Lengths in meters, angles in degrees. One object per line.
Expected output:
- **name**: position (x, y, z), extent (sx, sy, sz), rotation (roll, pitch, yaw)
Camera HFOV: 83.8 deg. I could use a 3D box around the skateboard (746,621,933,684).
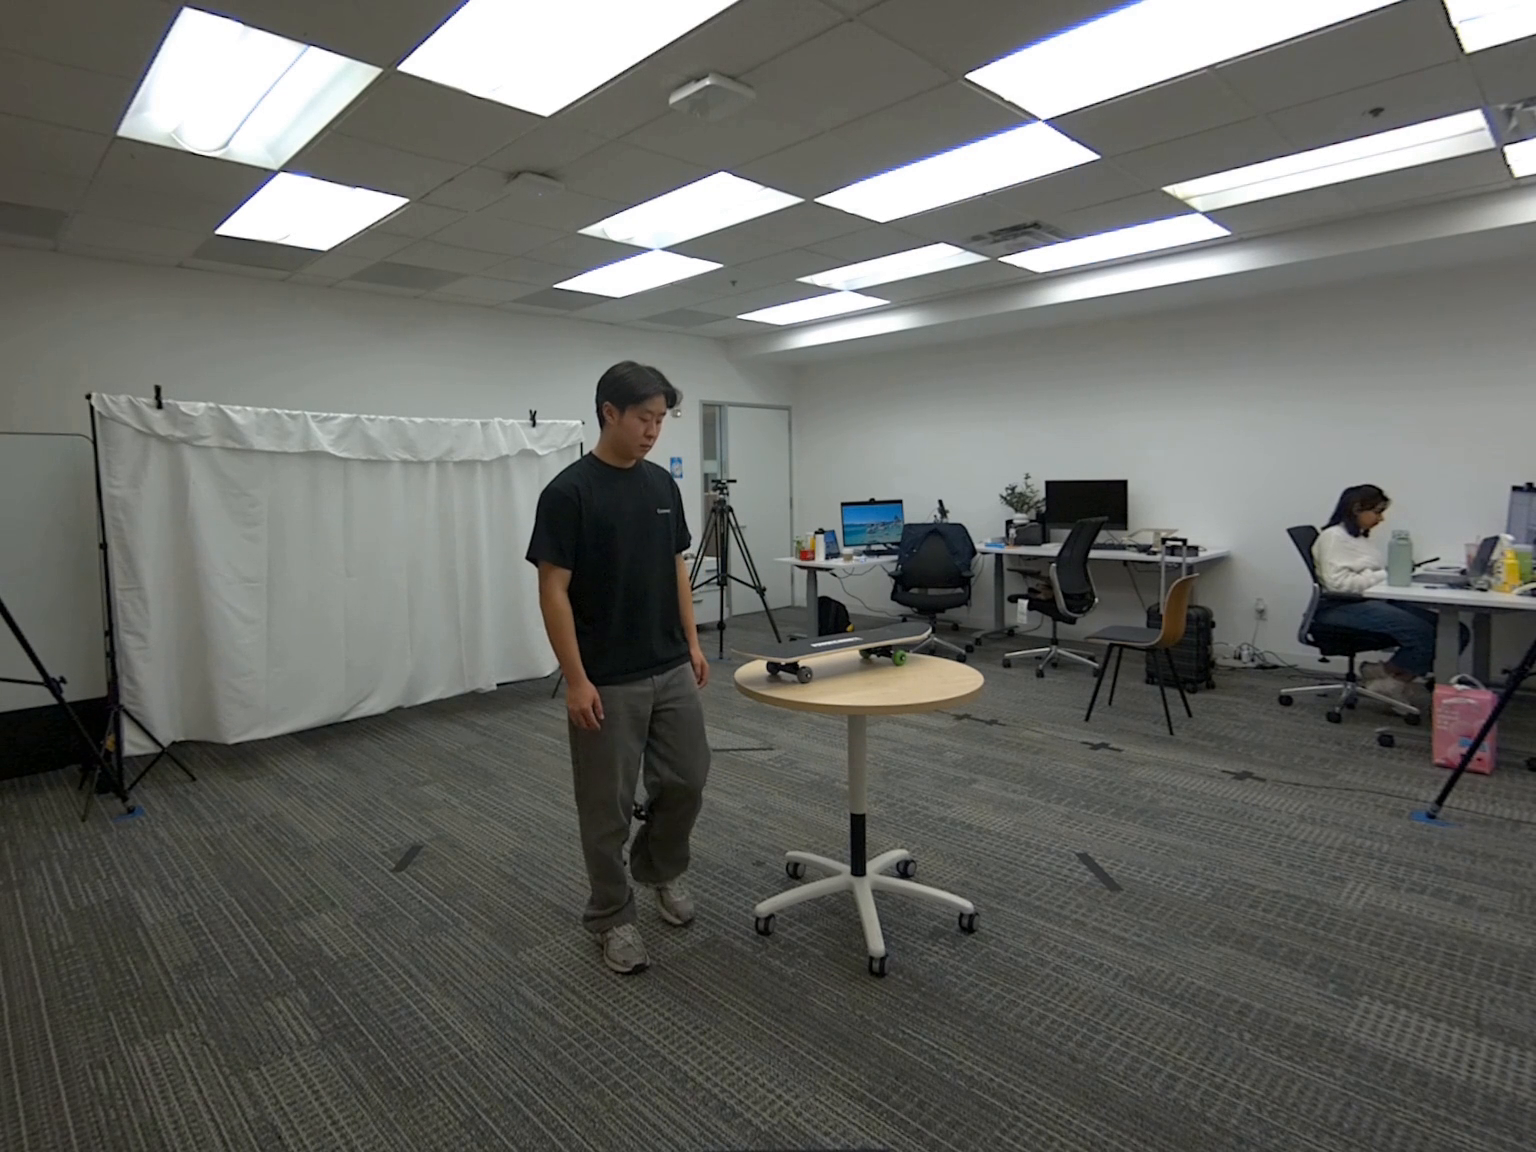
- **skateboard**: position (0.219, 0.249, 2.741), extent (0.766, 0.110, 0.199), rotation (-6, 7, -35)
